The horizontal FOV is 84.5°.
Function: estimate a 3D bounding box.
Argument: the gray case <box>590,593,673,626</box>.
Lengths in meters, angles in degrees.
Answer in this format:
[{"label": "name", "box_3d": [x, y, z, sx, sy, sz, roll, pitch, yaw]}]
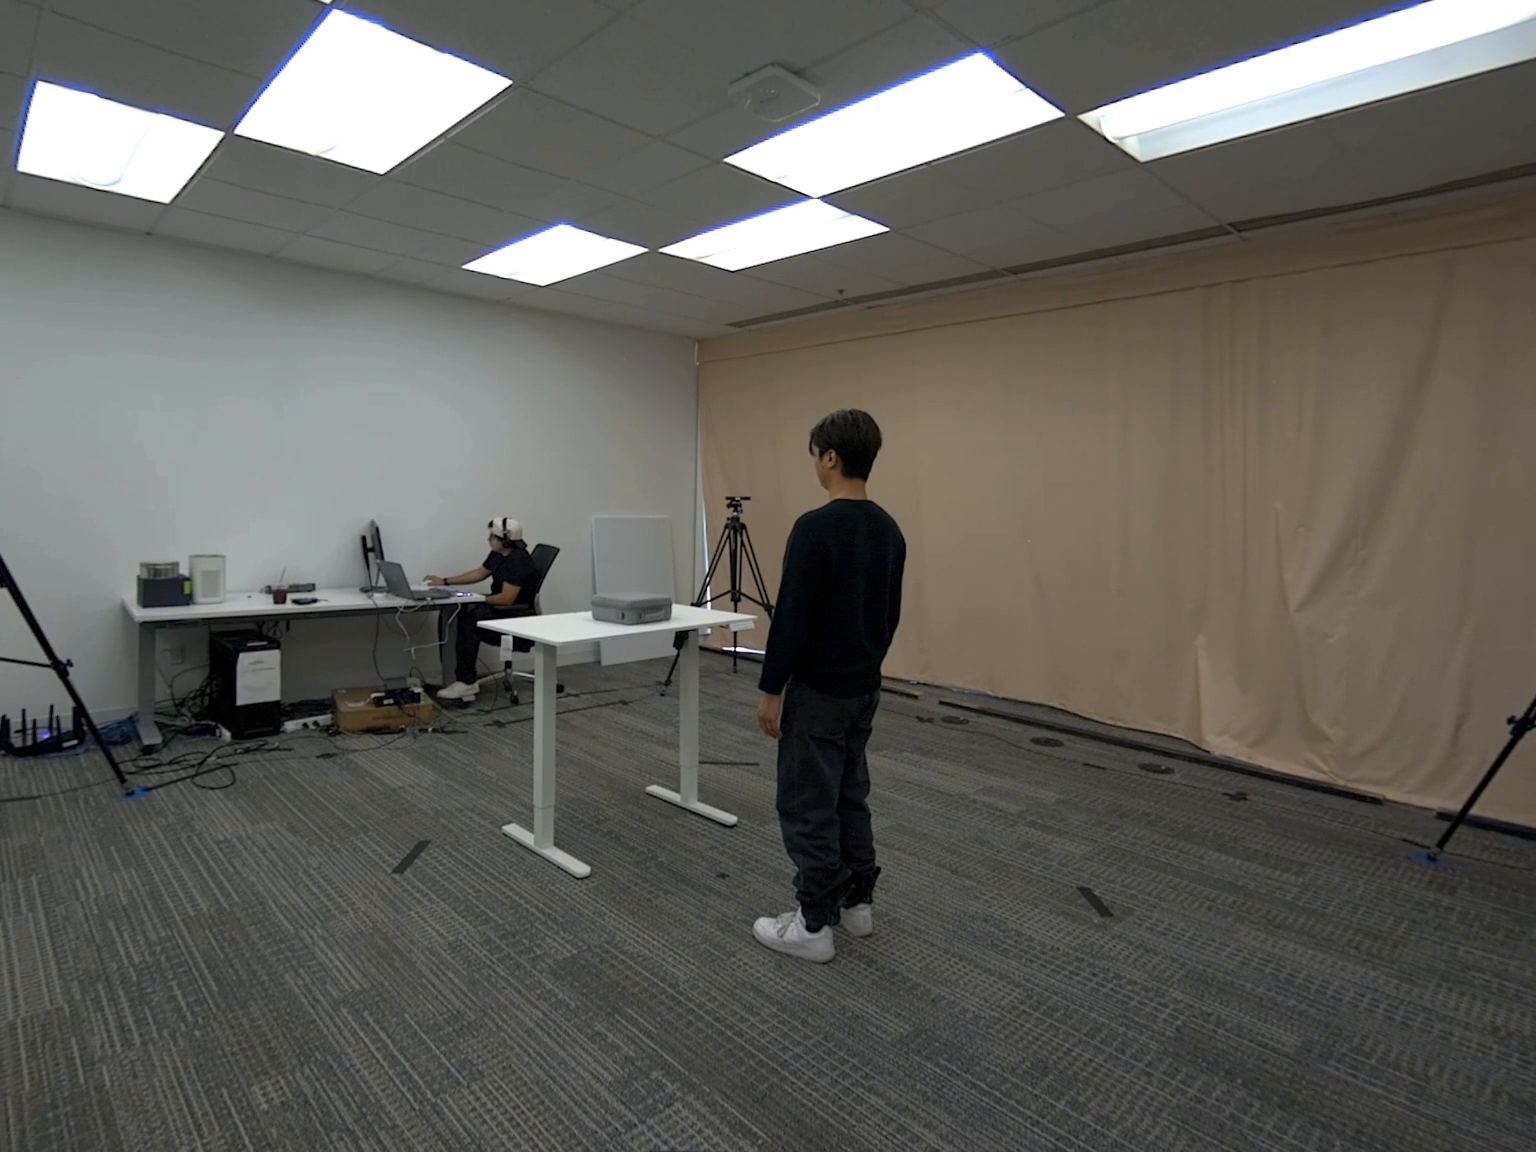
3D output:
[{"label": "gray case", "box_3d": [-0.566, 0.128, 3.473, 0.267, 0.104, 0.251, 6, 6, 39]}]
